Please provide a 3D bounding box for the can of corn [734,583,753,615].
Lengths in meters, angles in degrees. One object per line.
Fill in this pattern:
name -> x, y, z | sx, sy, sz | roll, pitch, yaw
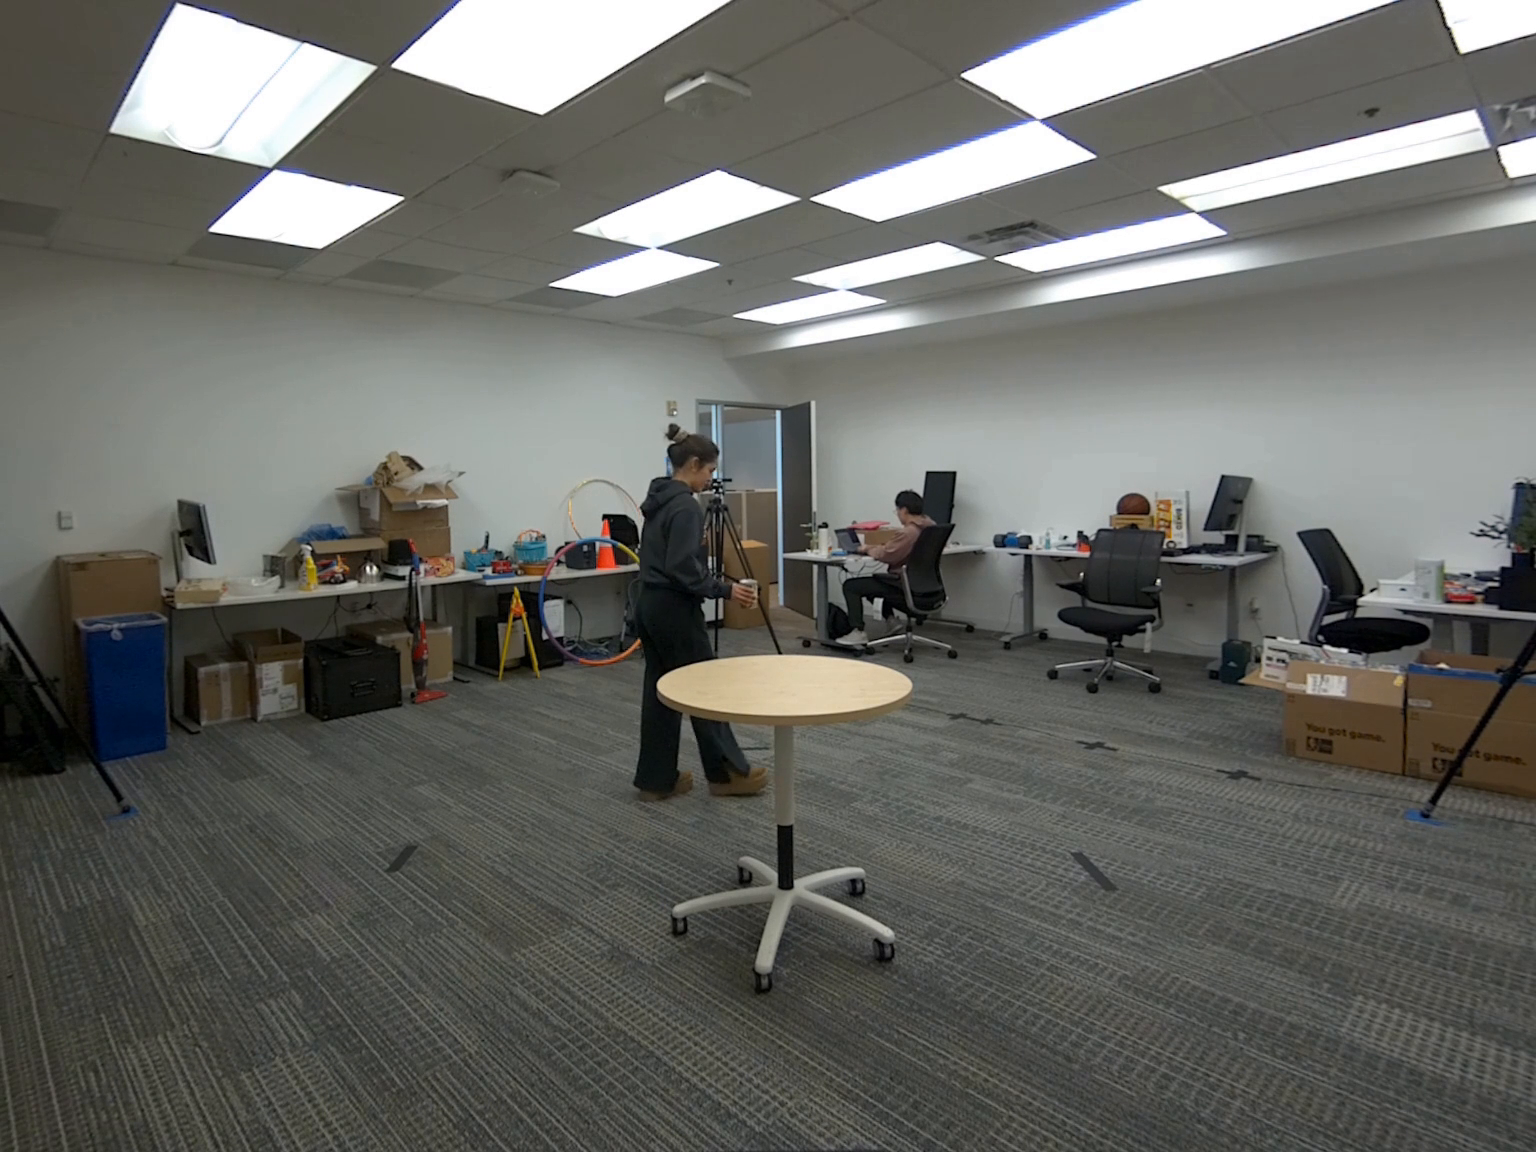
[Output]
can of corn -> -0.107, 0.093, 3.581 | 0.074, 0.110, 0.075 | -1, 10, -1
